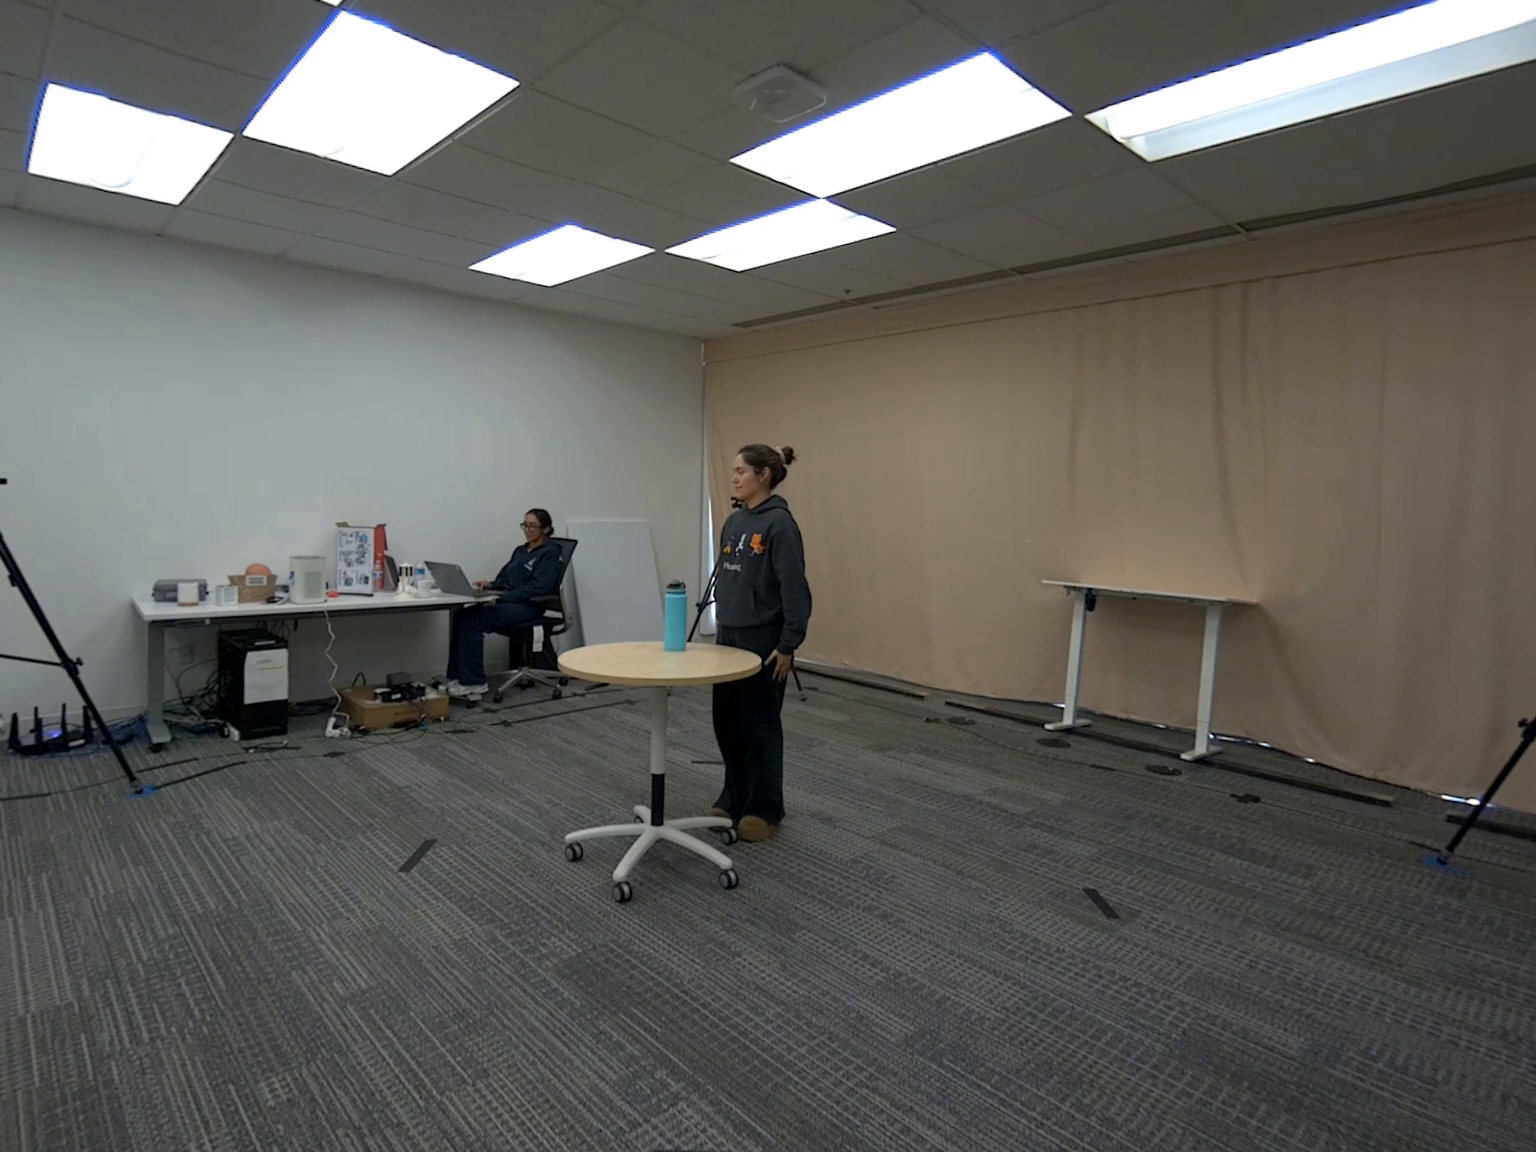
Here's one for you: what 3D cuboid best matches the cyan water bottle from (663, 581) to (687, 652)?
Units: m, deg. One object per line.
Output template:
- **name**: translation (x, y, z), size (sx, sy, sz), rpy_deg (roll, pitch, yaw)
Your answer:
- **cyan water bottle**: translation (-0.380, 0.154, 3.376), size (0.092, 0.283, 0.092), rpy_deg (1, 1, -1)
